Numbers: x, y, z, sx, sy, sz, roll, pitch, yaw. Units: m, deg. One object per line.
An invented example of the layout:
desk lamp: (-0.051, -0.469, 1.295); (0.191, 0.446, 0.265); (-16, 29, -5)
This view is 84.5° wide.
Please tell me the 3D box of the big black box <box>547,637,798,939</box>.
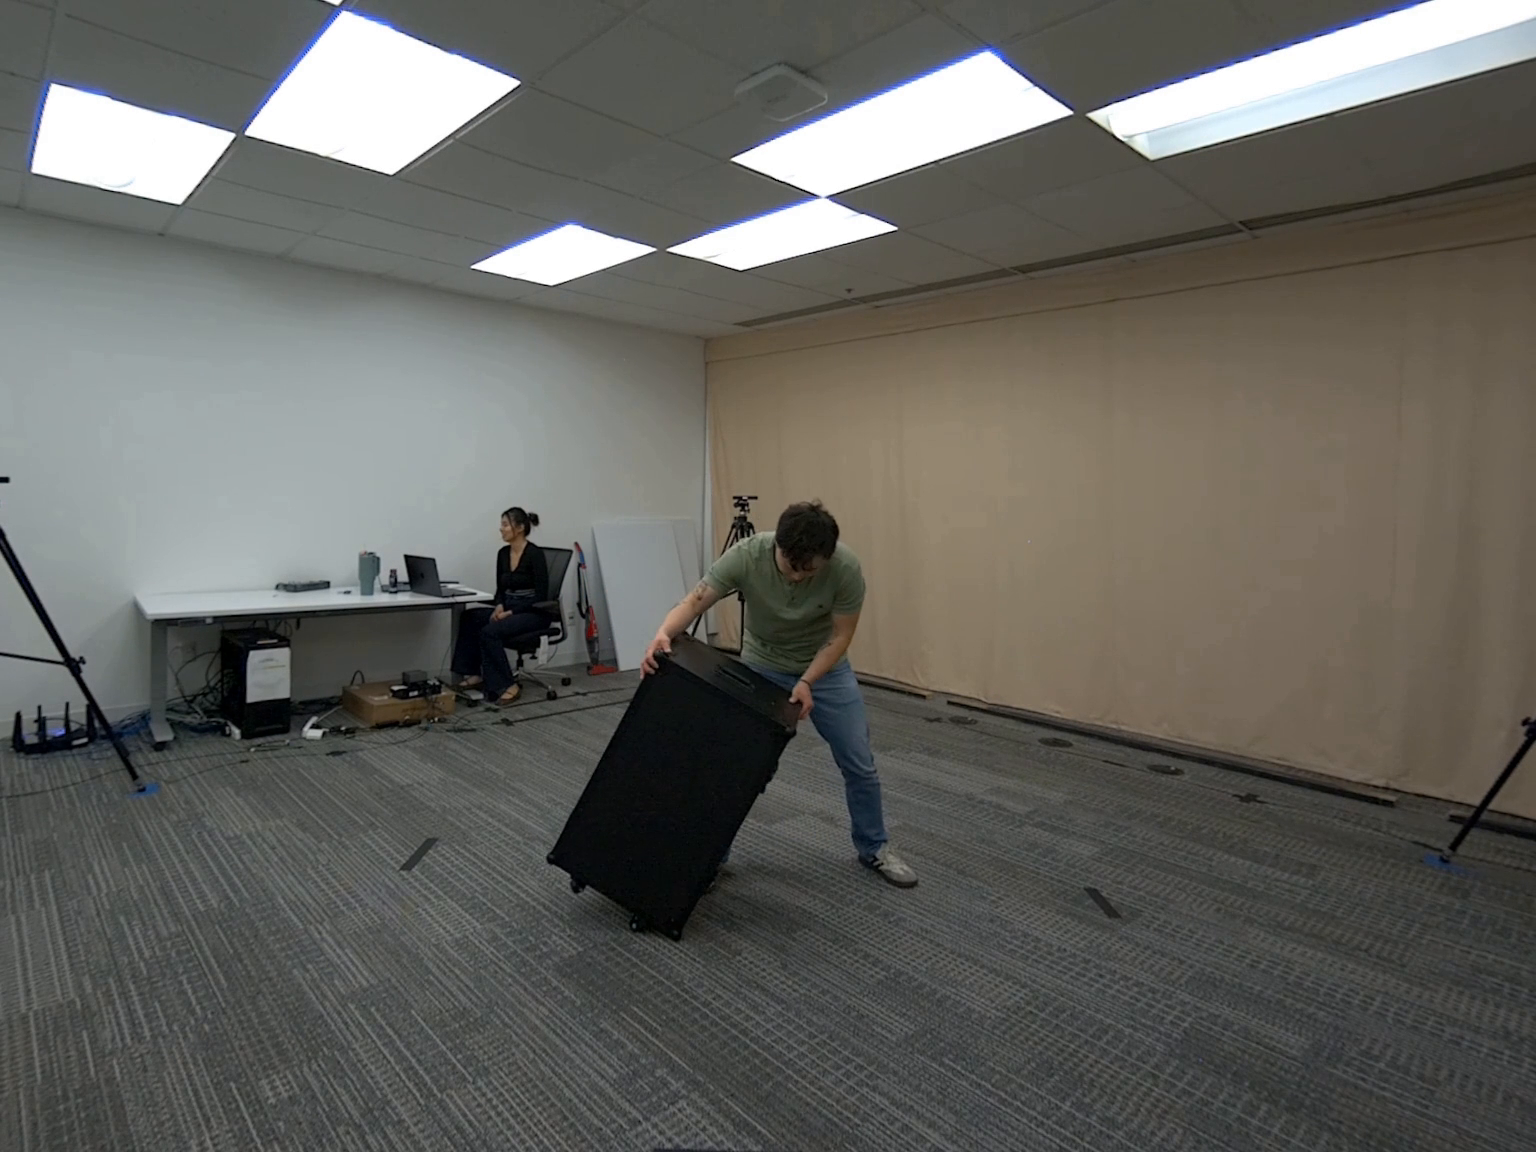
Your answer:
big black box: (-0.315, 0.691, 2.772); (0.525, 0.859, 0.394); (30, 8, 6)
